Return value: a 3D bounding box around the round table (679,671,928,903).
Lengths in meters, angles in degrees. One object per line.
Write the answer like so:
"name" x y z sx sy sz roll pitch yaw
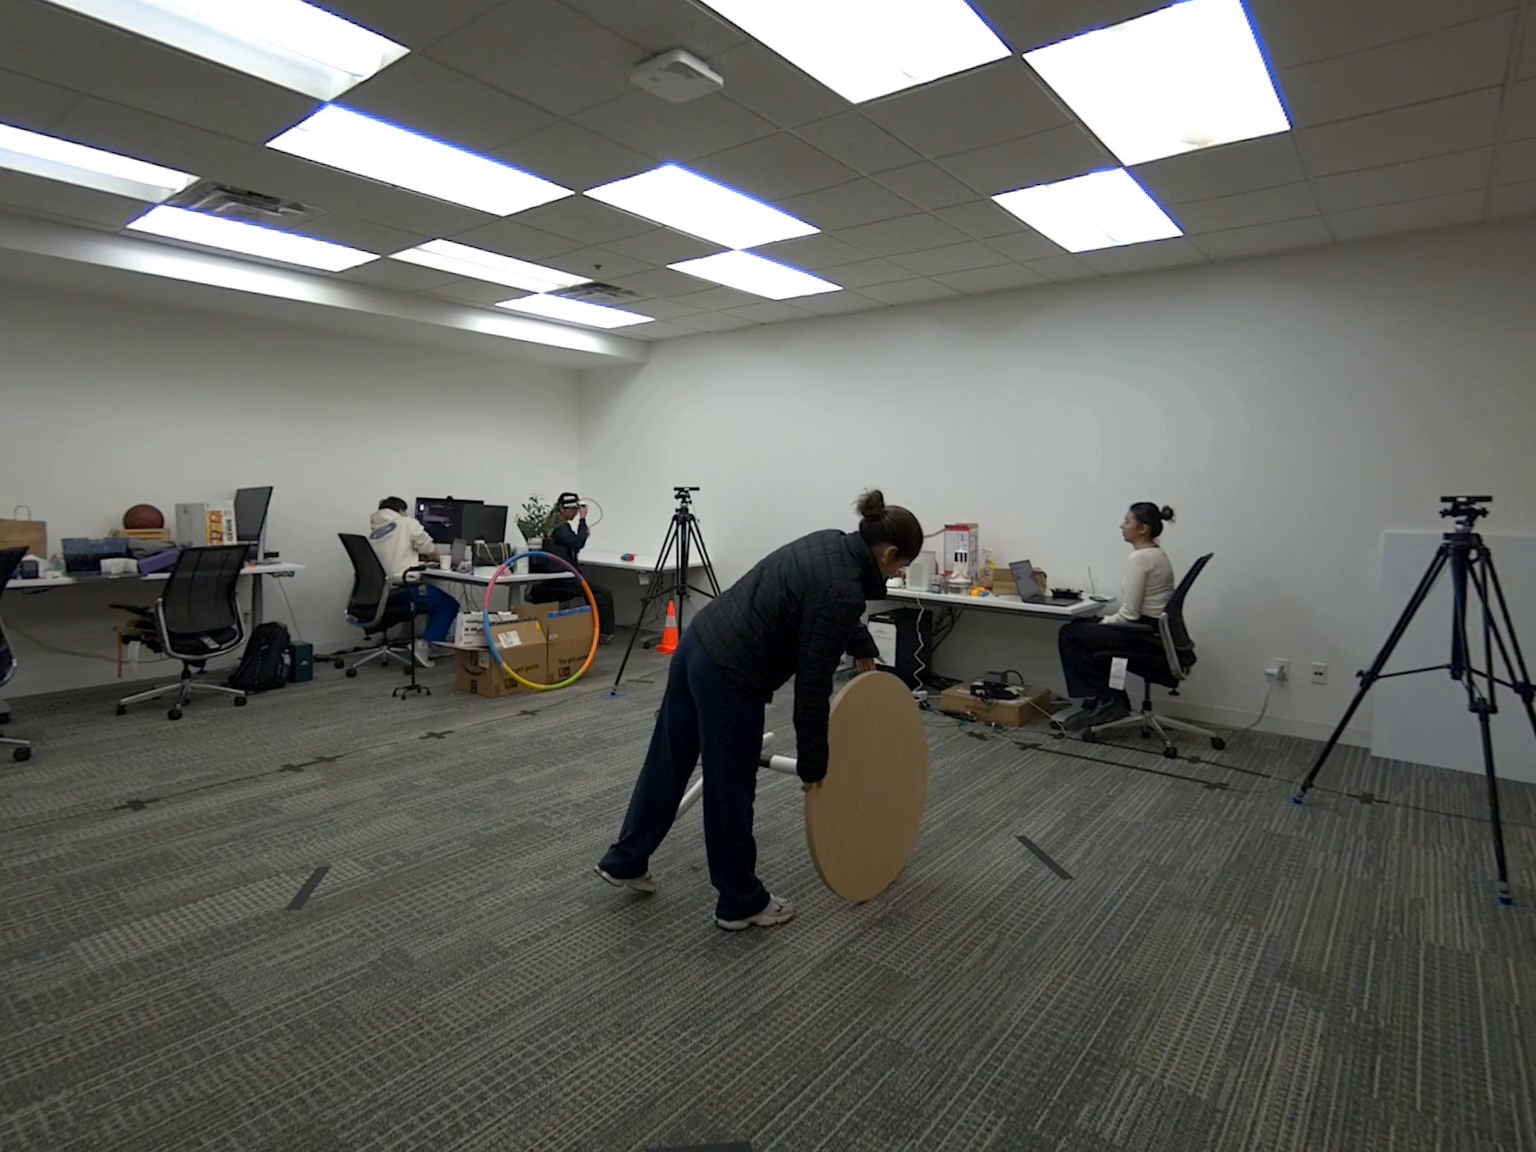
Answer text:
"round table" 0.074 0.697 3.196 0.812 0.784 0.762 1 3 40
